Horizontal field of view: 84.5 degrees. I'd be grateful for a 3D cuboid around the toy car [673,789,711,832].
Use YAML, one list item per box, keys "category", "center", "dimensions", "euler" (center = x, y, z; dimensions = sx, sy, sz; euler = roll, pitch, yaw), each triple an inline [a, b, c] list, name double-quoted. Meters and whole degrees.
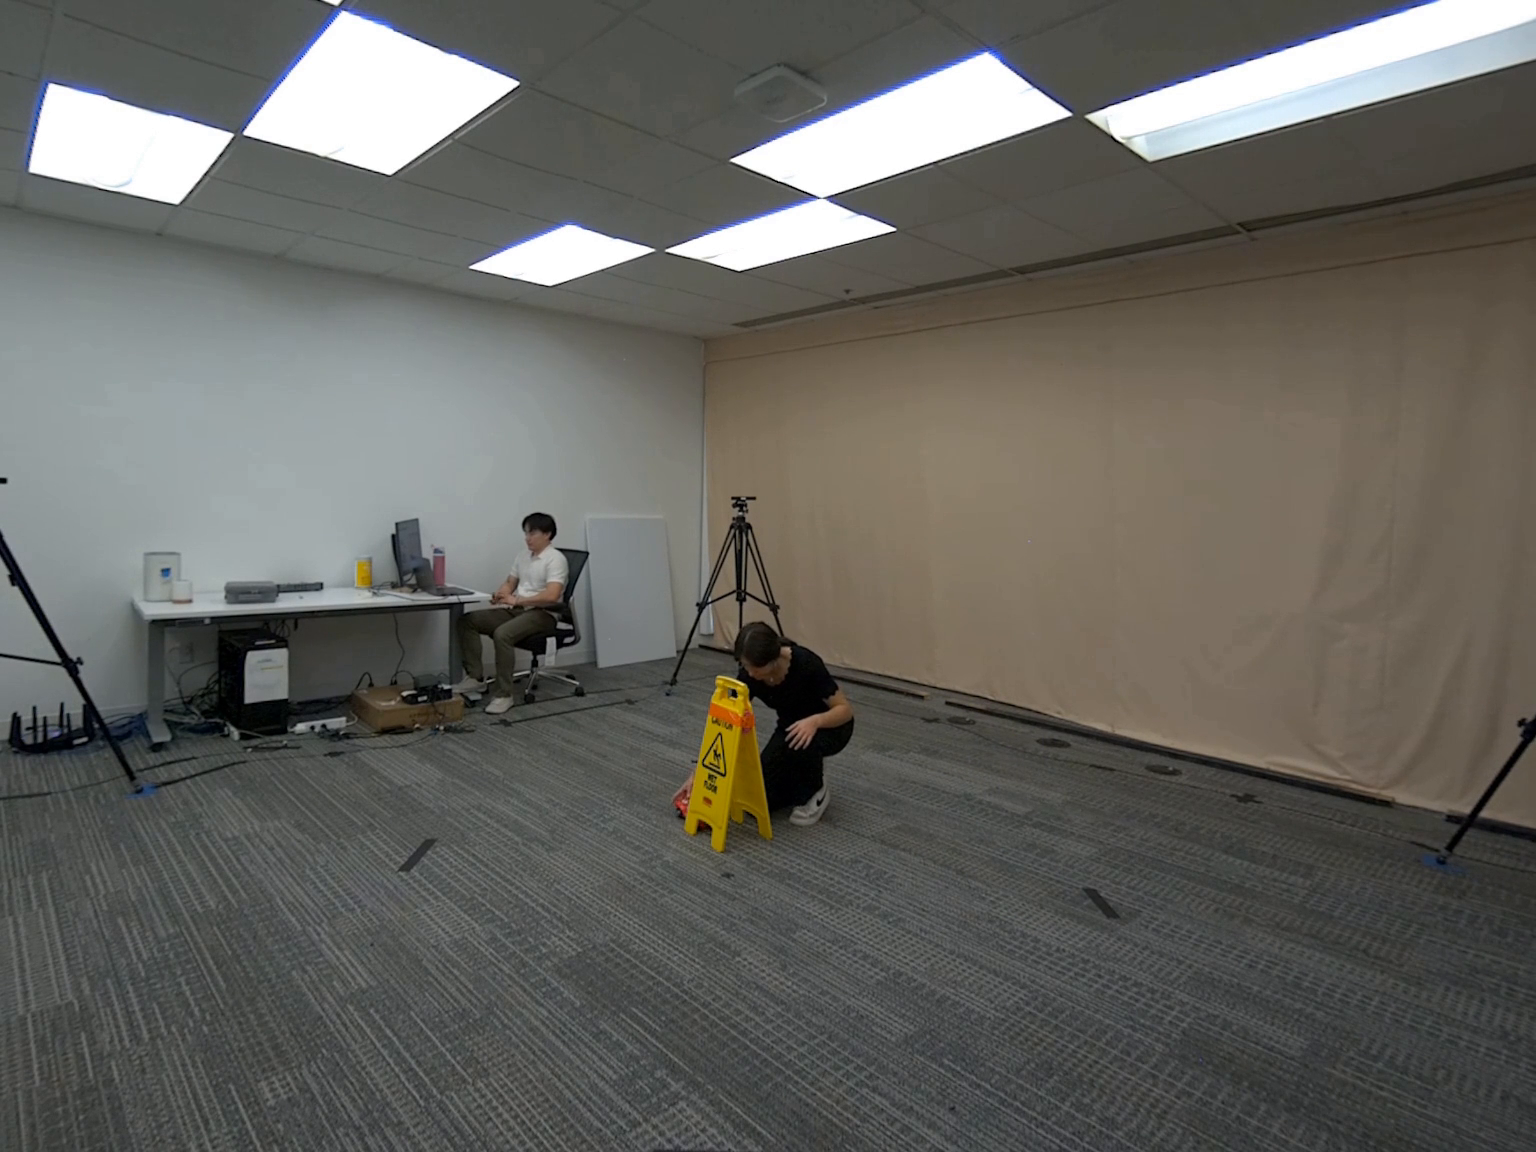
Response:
- category: "toy car"
  center: [-0.312, 1.017, 3.635]
  dimensions: [0.127, 0.082, 0.262]
  euler: [-2, 16, -33]
